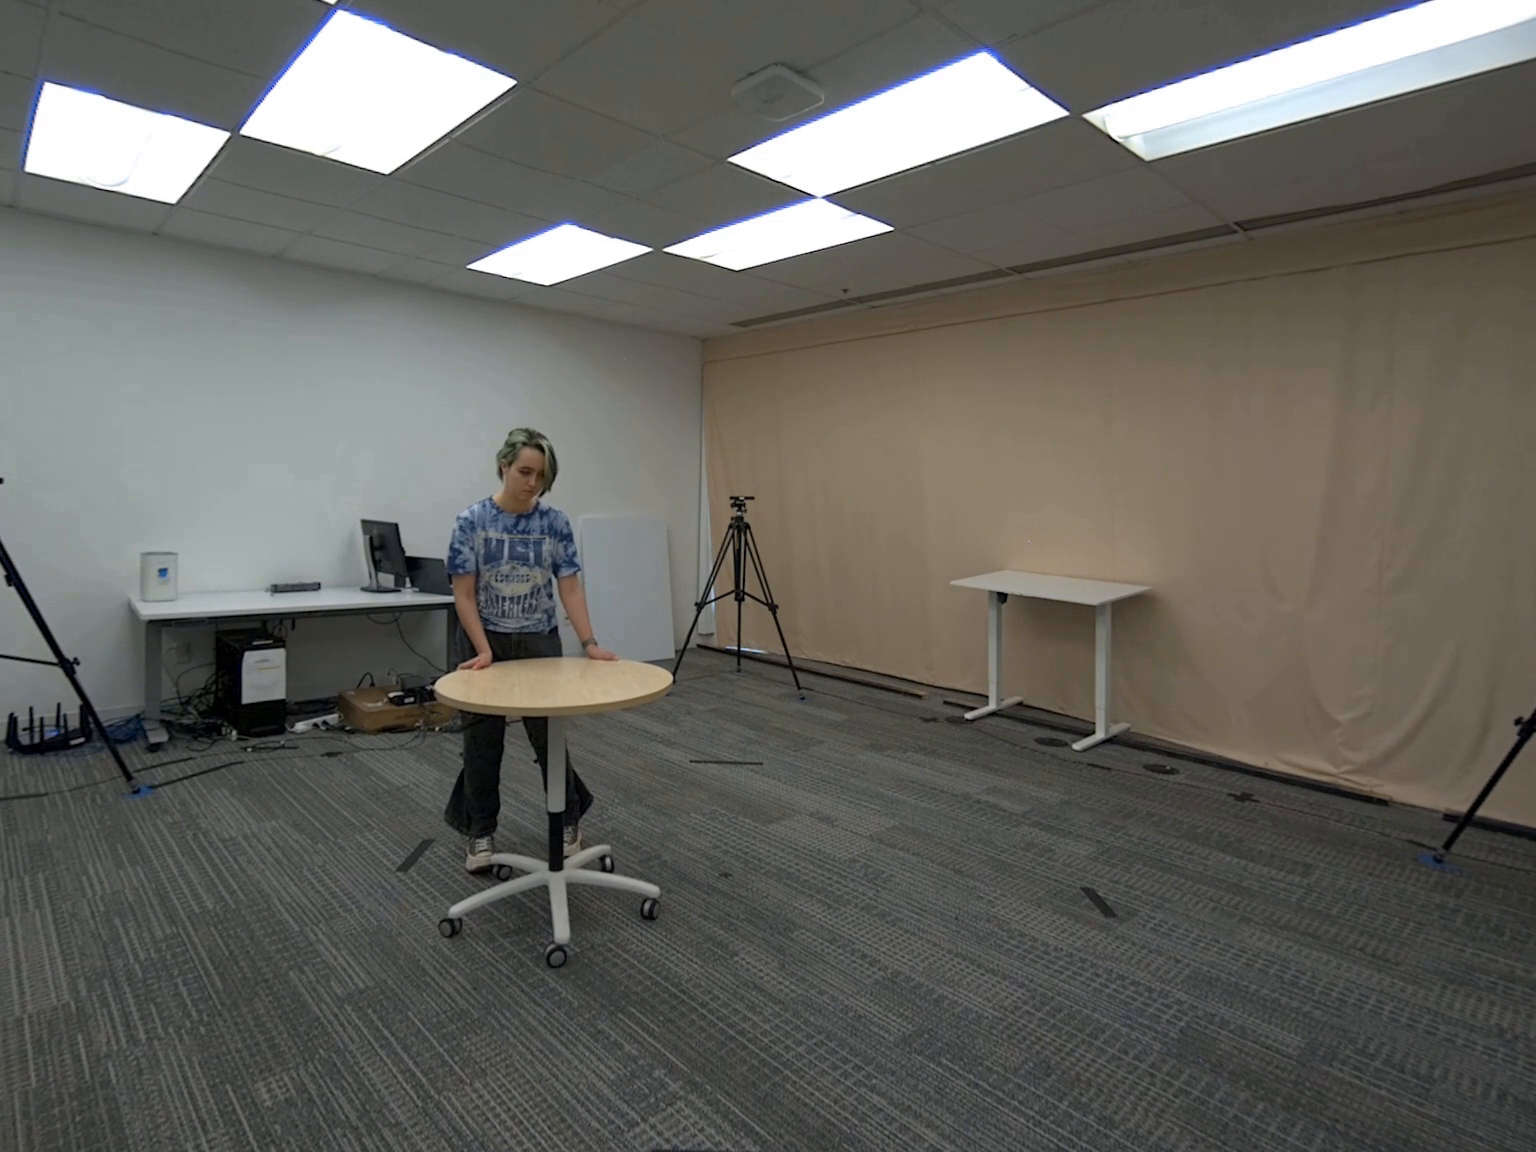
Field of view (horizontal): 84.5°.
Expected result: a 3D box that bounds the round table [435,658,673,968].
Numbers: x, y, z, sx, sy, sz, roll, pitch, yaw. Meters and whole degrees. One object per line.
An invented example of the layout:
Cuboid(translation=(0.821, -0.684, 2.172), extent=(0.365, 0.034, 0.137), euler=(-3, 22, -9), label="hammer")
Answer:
Cuboid(translation=(-0.711, 0.736, 2.787), extent=(0.763, 0.792, 0.766), euler=(1, 4, -1), label="round table")
